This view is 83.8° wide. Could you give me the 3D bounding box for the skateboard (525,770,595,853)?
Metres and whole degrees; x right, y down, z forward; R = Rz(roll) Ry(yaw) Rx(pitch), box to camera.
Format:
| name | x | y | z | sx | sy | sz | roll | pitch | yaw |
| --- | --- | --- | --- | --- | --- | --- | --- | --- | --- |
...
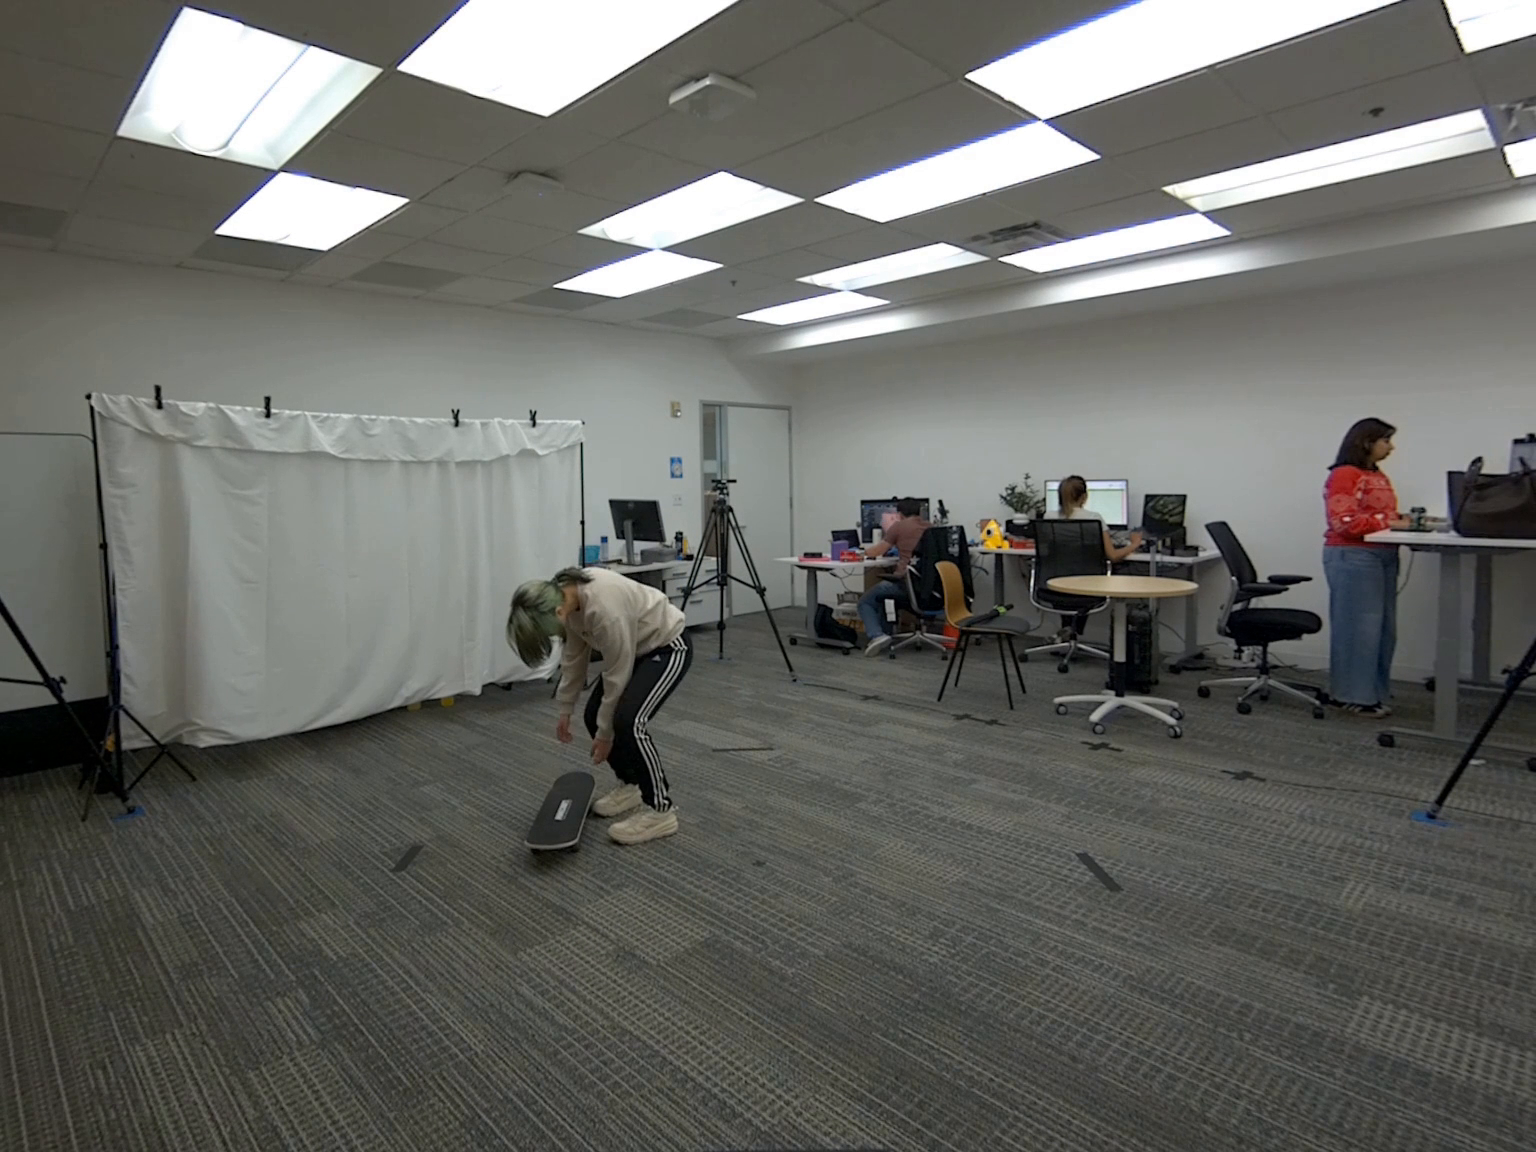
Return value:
| name | x | y | z | sx | sy | sz | roll | pitch | yaw |
| --- | --- | --- | --- | --- | --- | --- | --- | --- | --- |
| skateboard | -0.819 | 0.968 | 3.427 | 0.193 | 0.110 | 0.790 | -3 | 6 | -4 |
